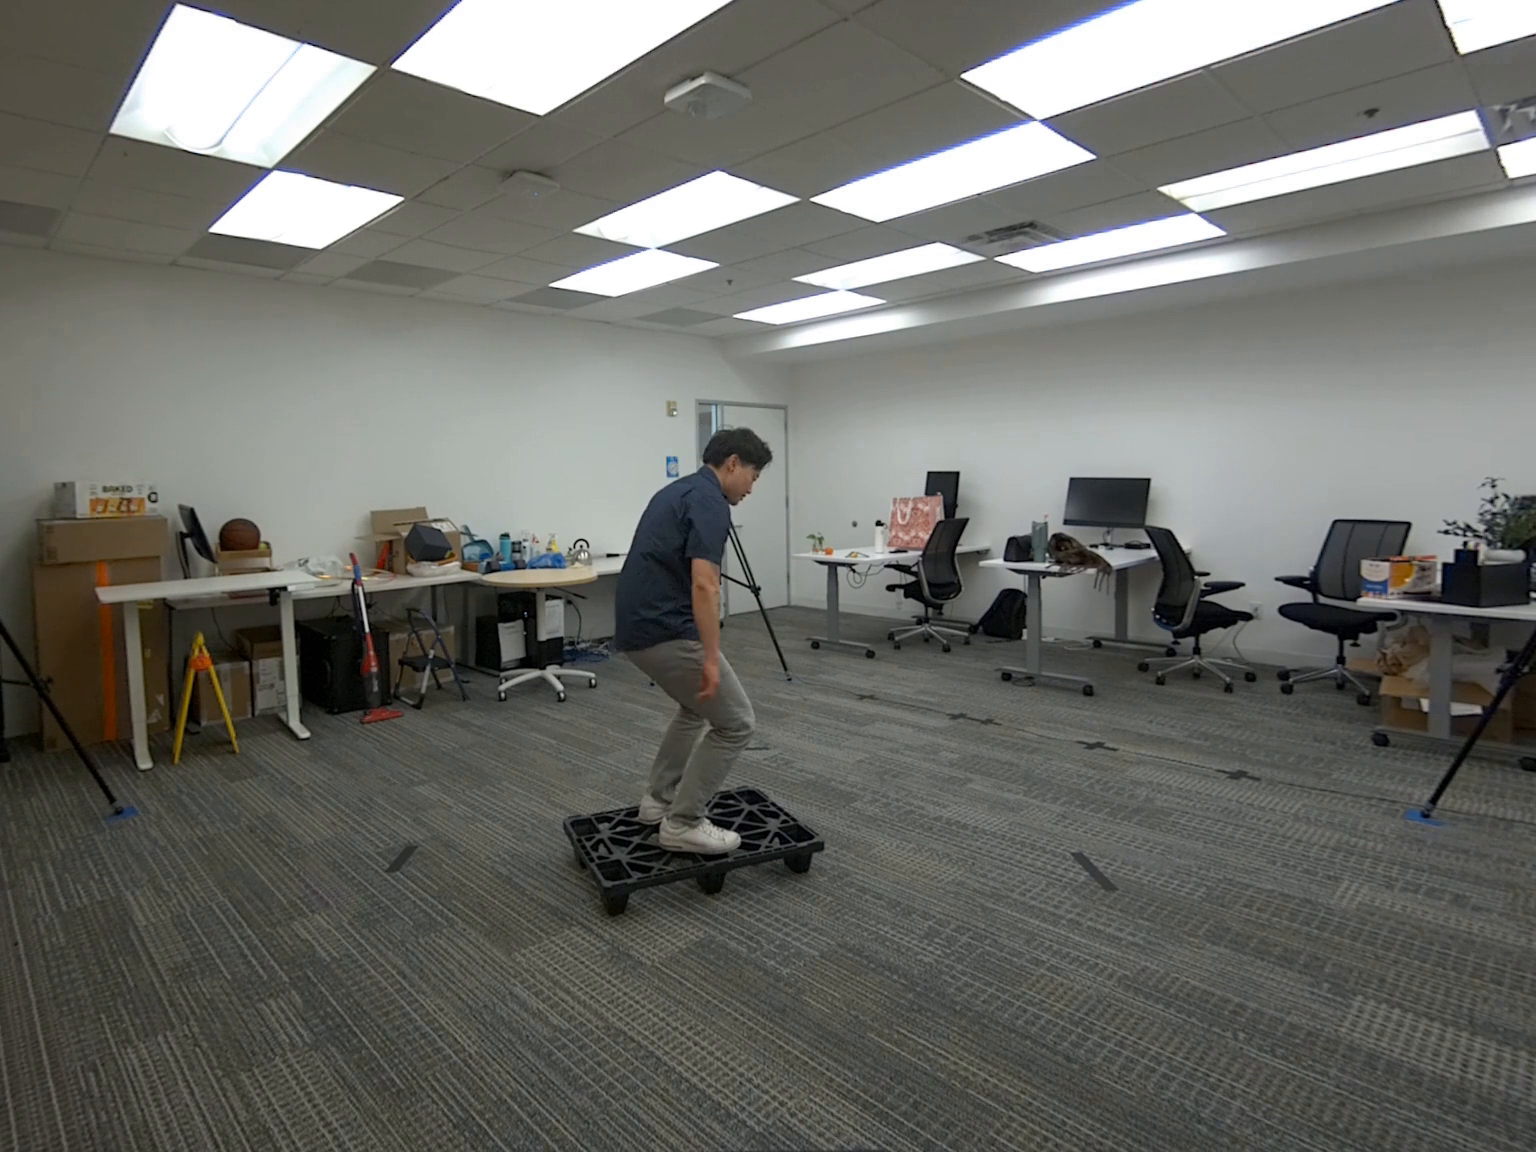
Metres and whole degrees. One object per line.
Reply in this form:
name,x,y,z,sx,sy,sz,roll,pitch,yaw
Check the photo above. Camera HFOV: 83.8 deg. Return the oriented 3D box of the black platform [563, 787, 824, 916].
black platform,-0.287,0.982,3.101,0.789,0.143,0.620,-4,7,-24
